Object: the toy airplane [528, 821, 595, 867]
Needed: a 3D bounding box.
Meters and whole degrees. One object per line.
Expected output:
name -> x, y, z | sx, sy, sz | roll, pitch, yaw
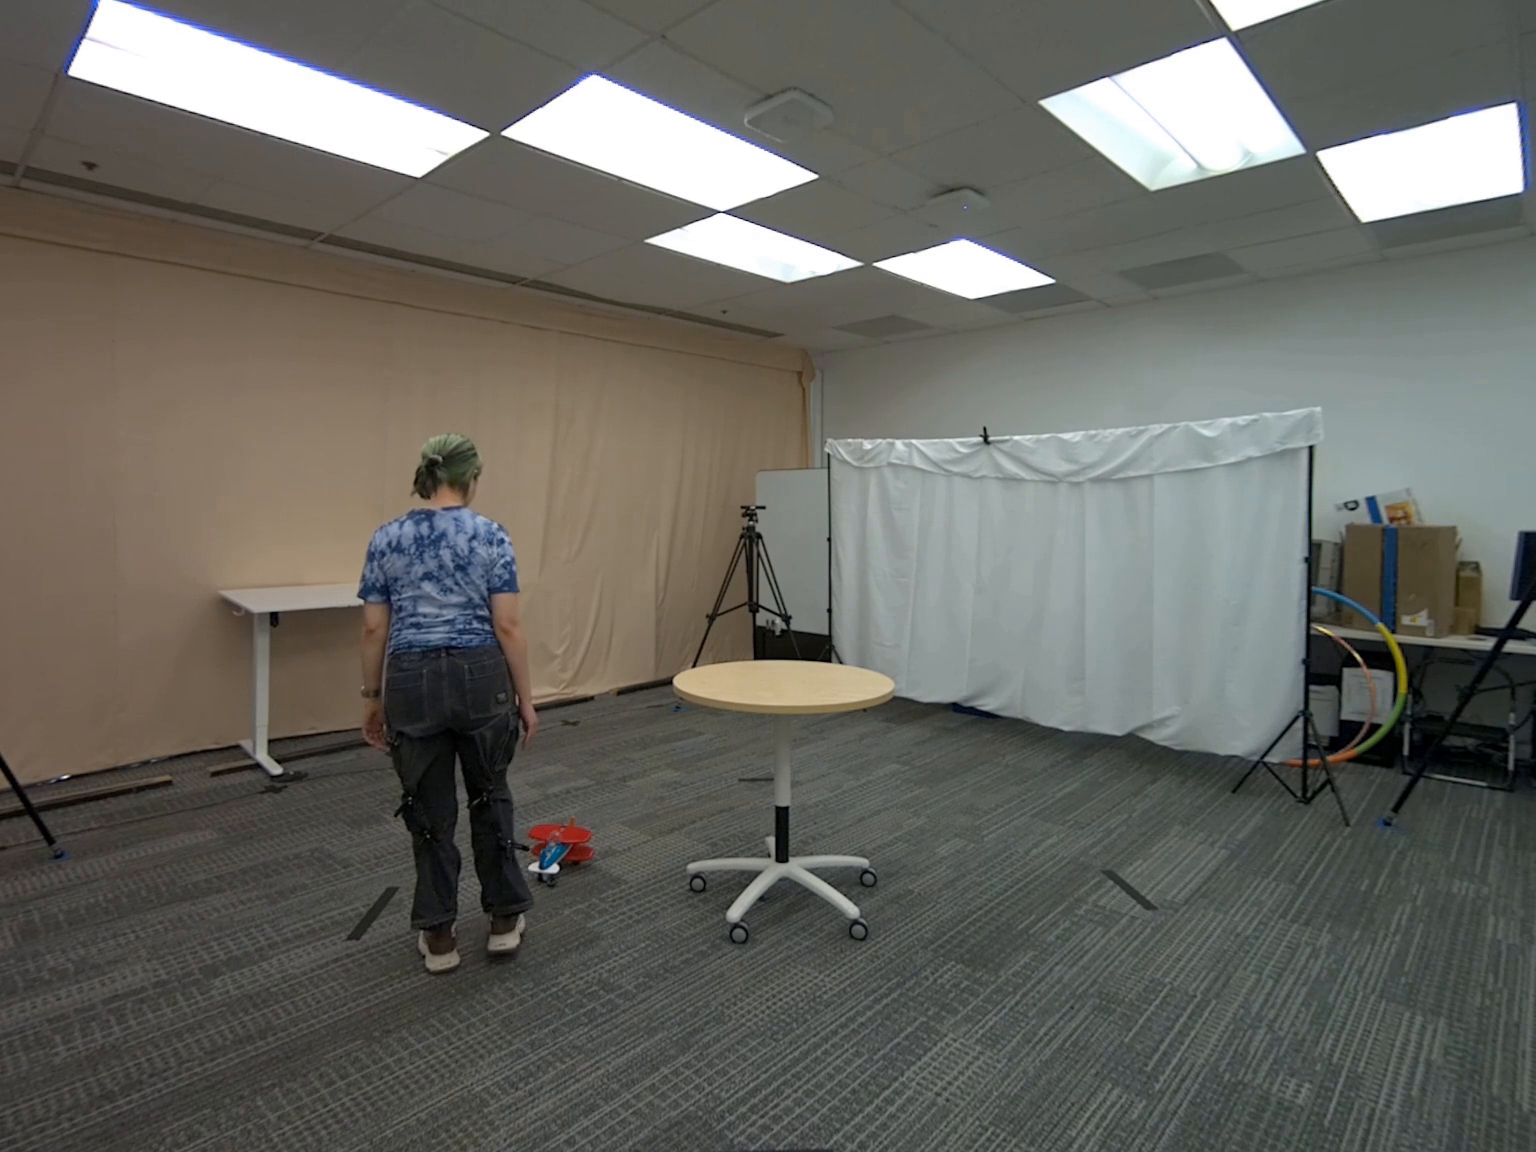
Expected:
toy airplane -> -0.787, 1.059, 3.215 | 0.247, 0.156, 0.264 | -2, 3, -15
